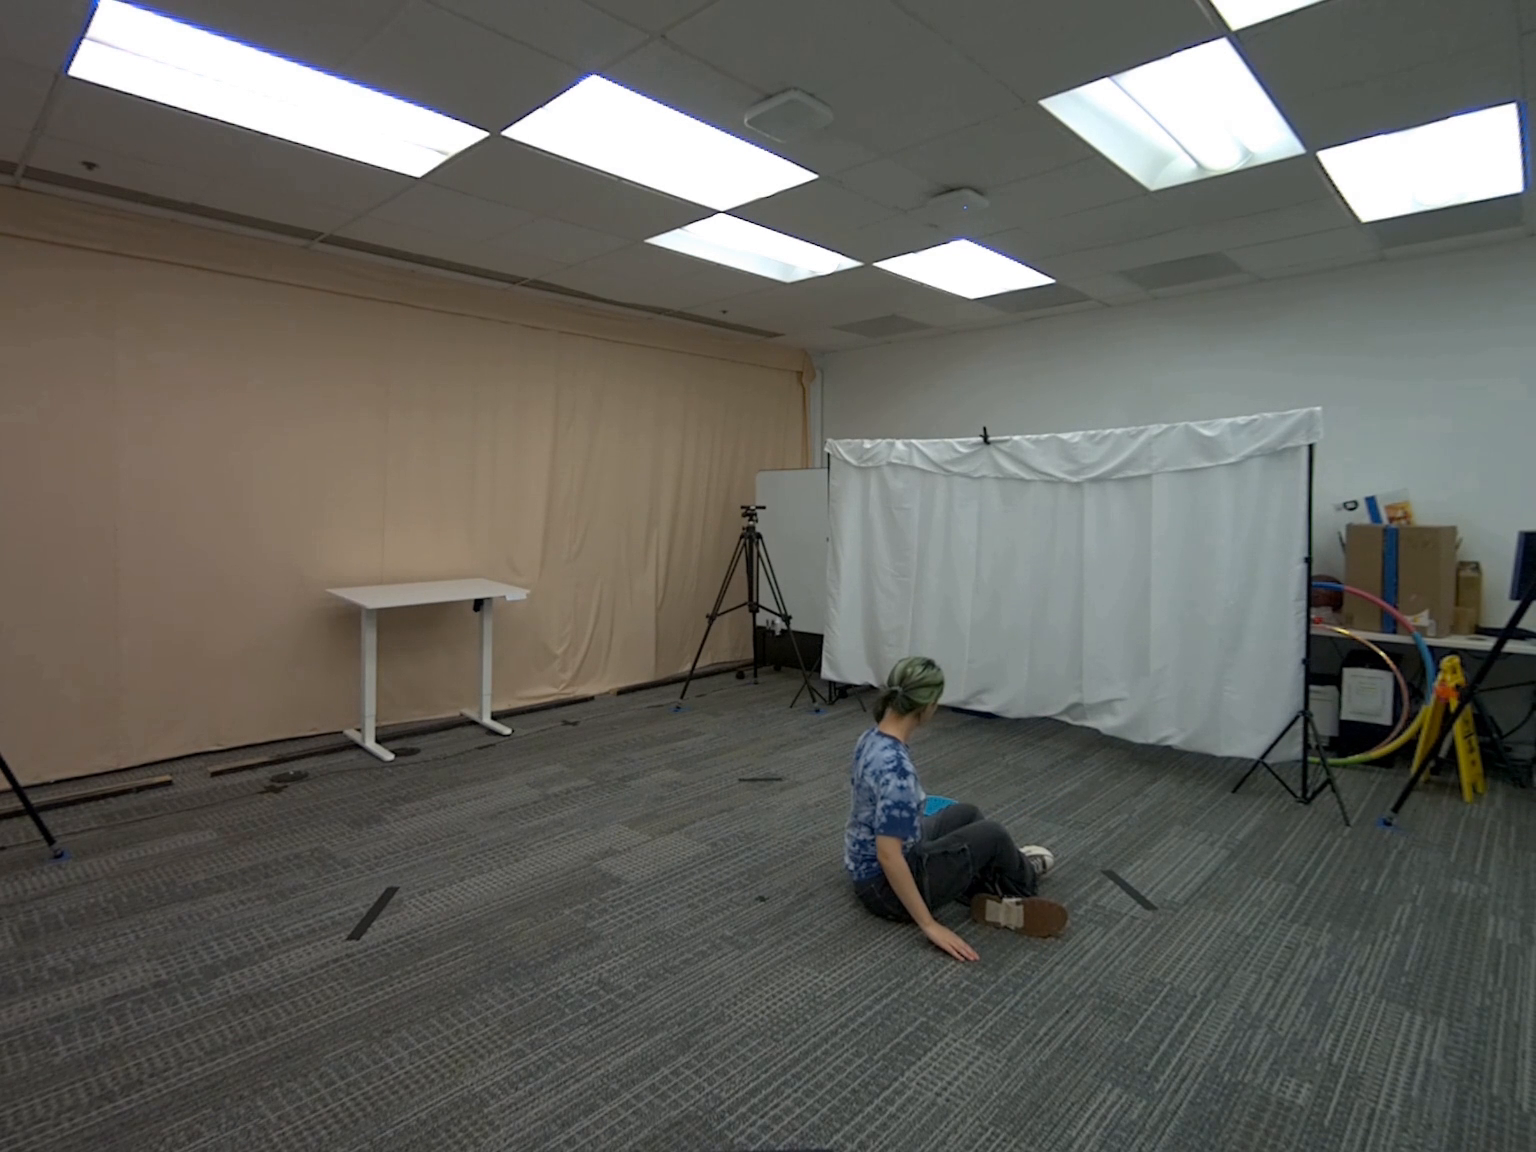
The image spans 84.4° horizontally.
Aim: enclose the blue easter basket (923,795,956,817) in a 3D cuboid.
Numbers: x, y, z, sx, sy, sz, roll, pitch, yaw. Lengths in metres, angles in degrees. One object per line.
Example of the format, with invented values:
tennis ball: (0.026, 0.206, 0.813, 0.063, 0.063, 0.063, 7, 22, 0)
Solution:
blue easter basket: (0.704, 1.027, 3.484, 0.243, 0.155, 0.244, 1, 4, -2)
